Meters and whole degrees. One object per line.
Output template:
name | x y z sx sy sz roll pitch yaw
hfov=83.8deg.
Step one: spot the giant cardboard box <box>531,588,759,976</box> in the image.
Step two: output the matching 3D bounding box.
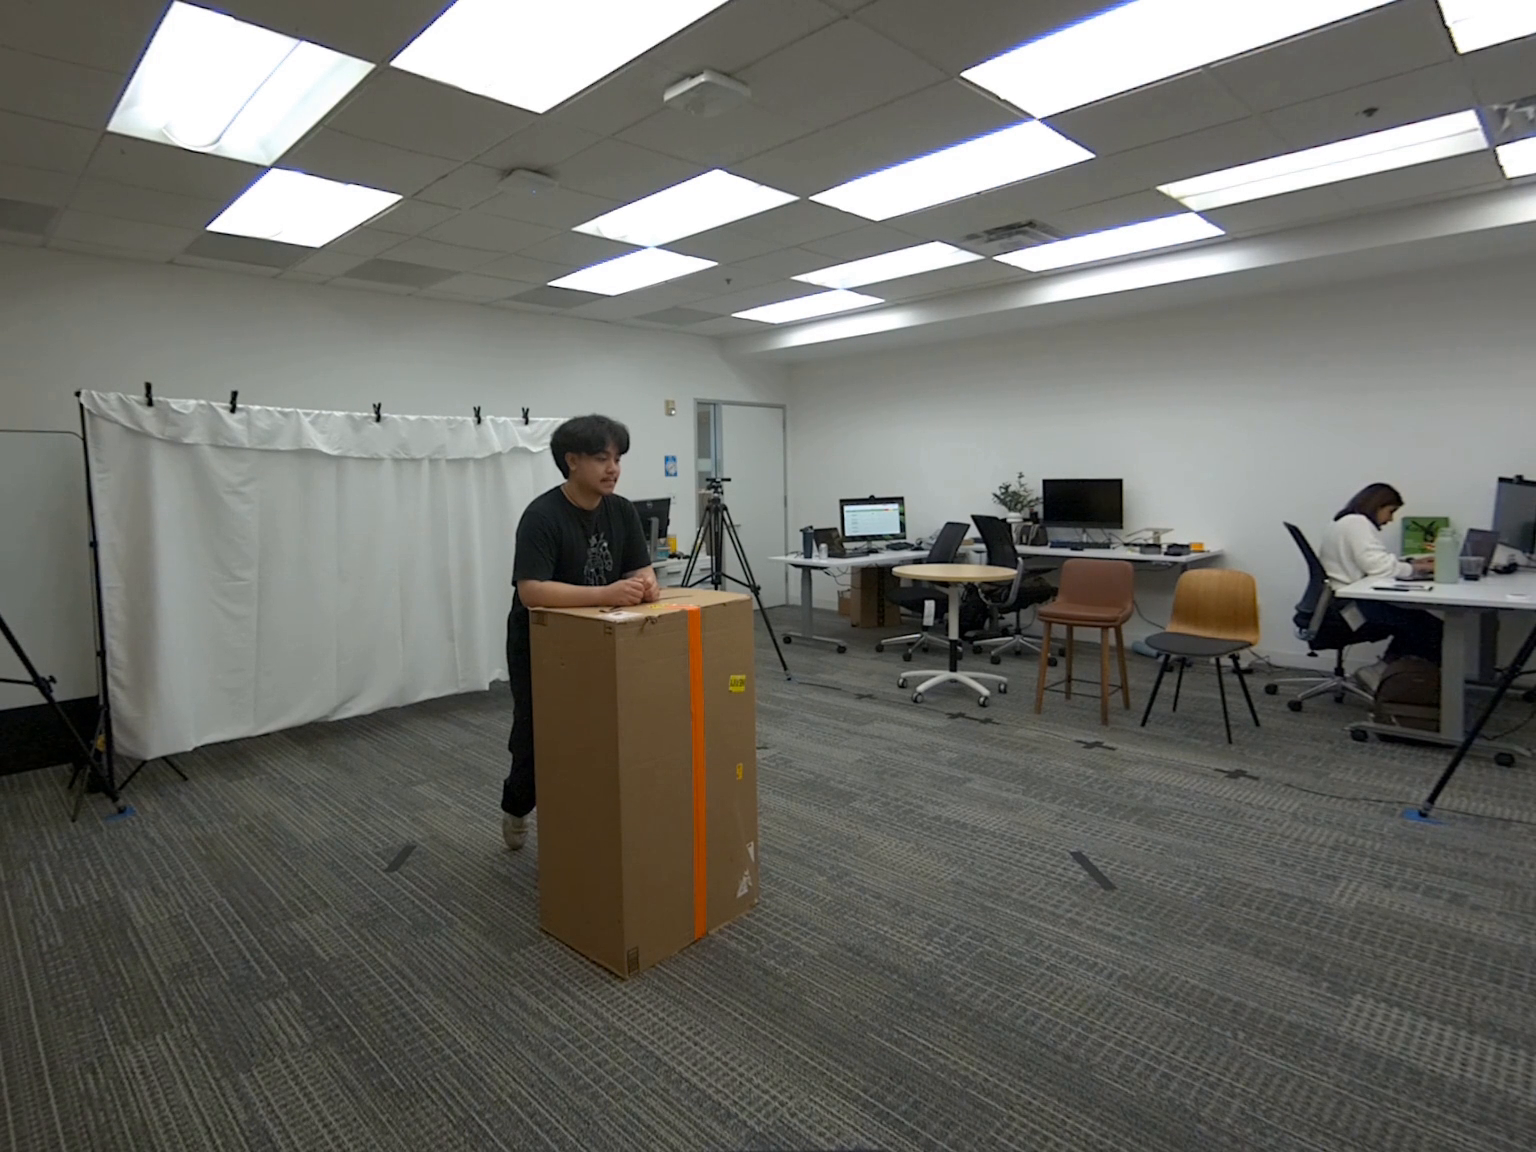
giant cardboard box | -0.376 0.586 2.705 0.461 1.022 0.569 4 7 43
